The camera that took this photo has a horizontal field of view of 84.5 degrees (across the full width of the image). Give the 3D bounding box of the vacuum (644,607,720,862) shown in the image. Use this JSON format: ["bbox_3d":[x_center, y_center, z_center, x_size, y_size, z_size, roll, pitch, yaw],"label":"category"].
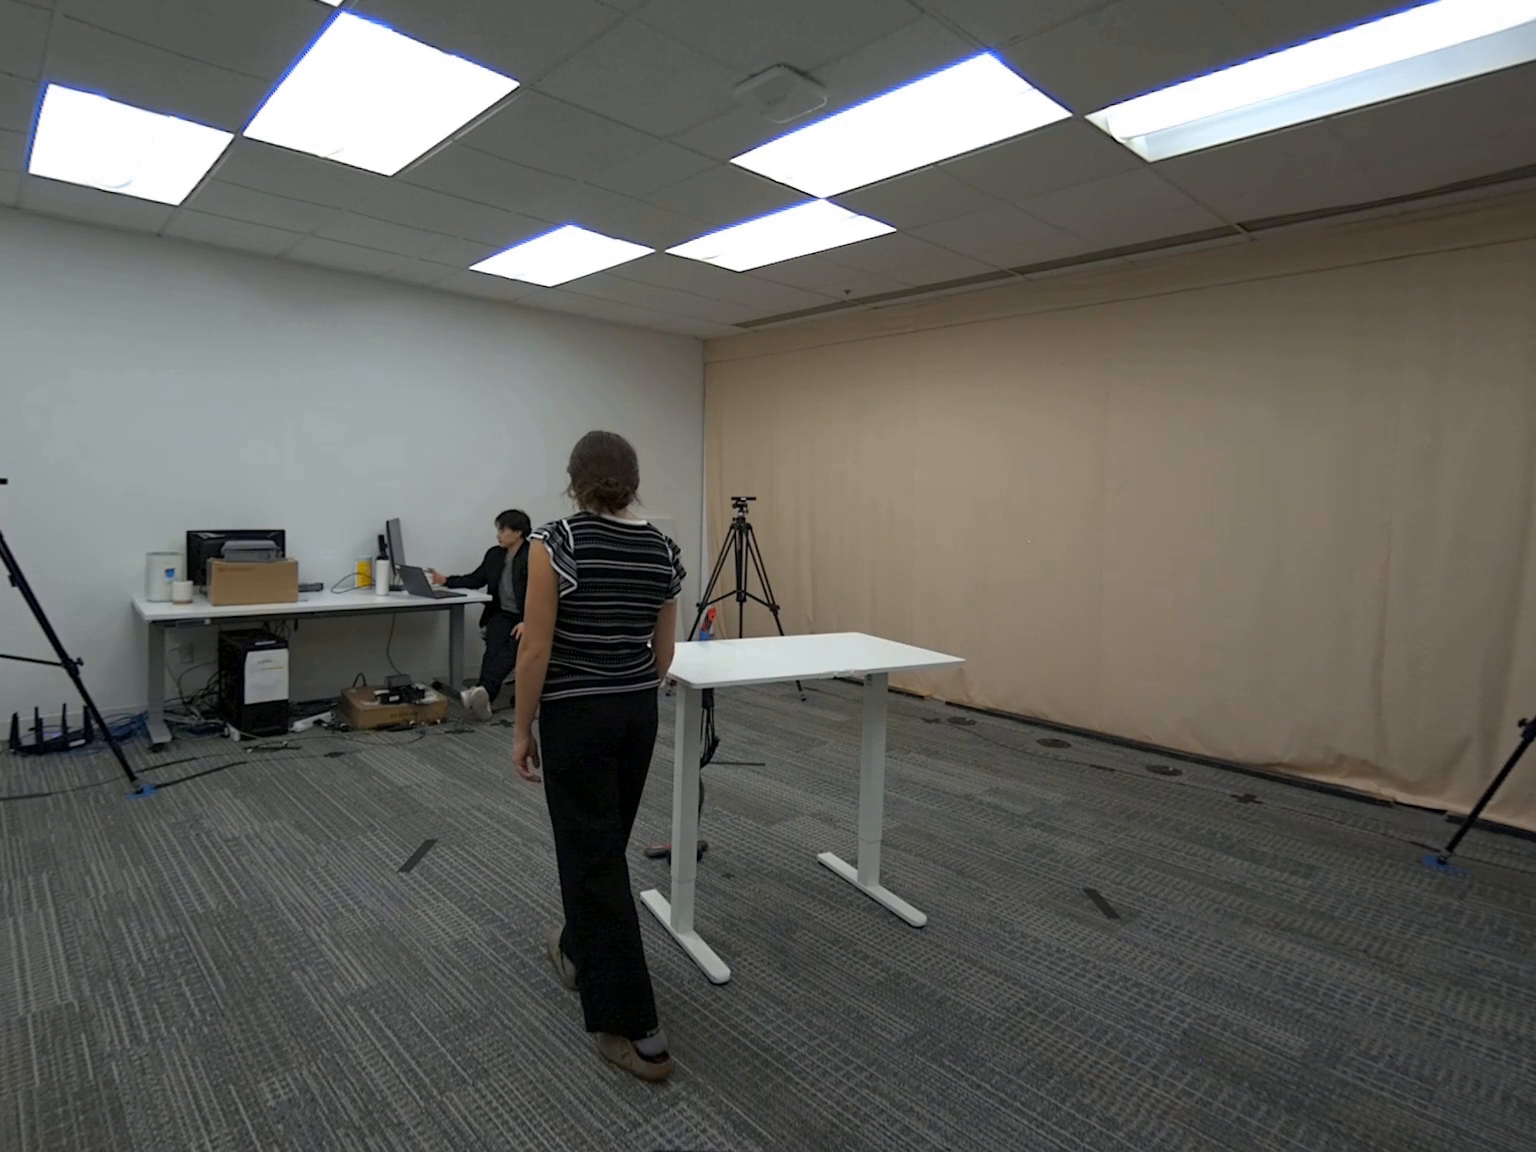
[{"bbox_3d":[-0.282,0.612,3.103,0.248,1.037,0.148,-1,20,-24],"label":"vacuum"}]
